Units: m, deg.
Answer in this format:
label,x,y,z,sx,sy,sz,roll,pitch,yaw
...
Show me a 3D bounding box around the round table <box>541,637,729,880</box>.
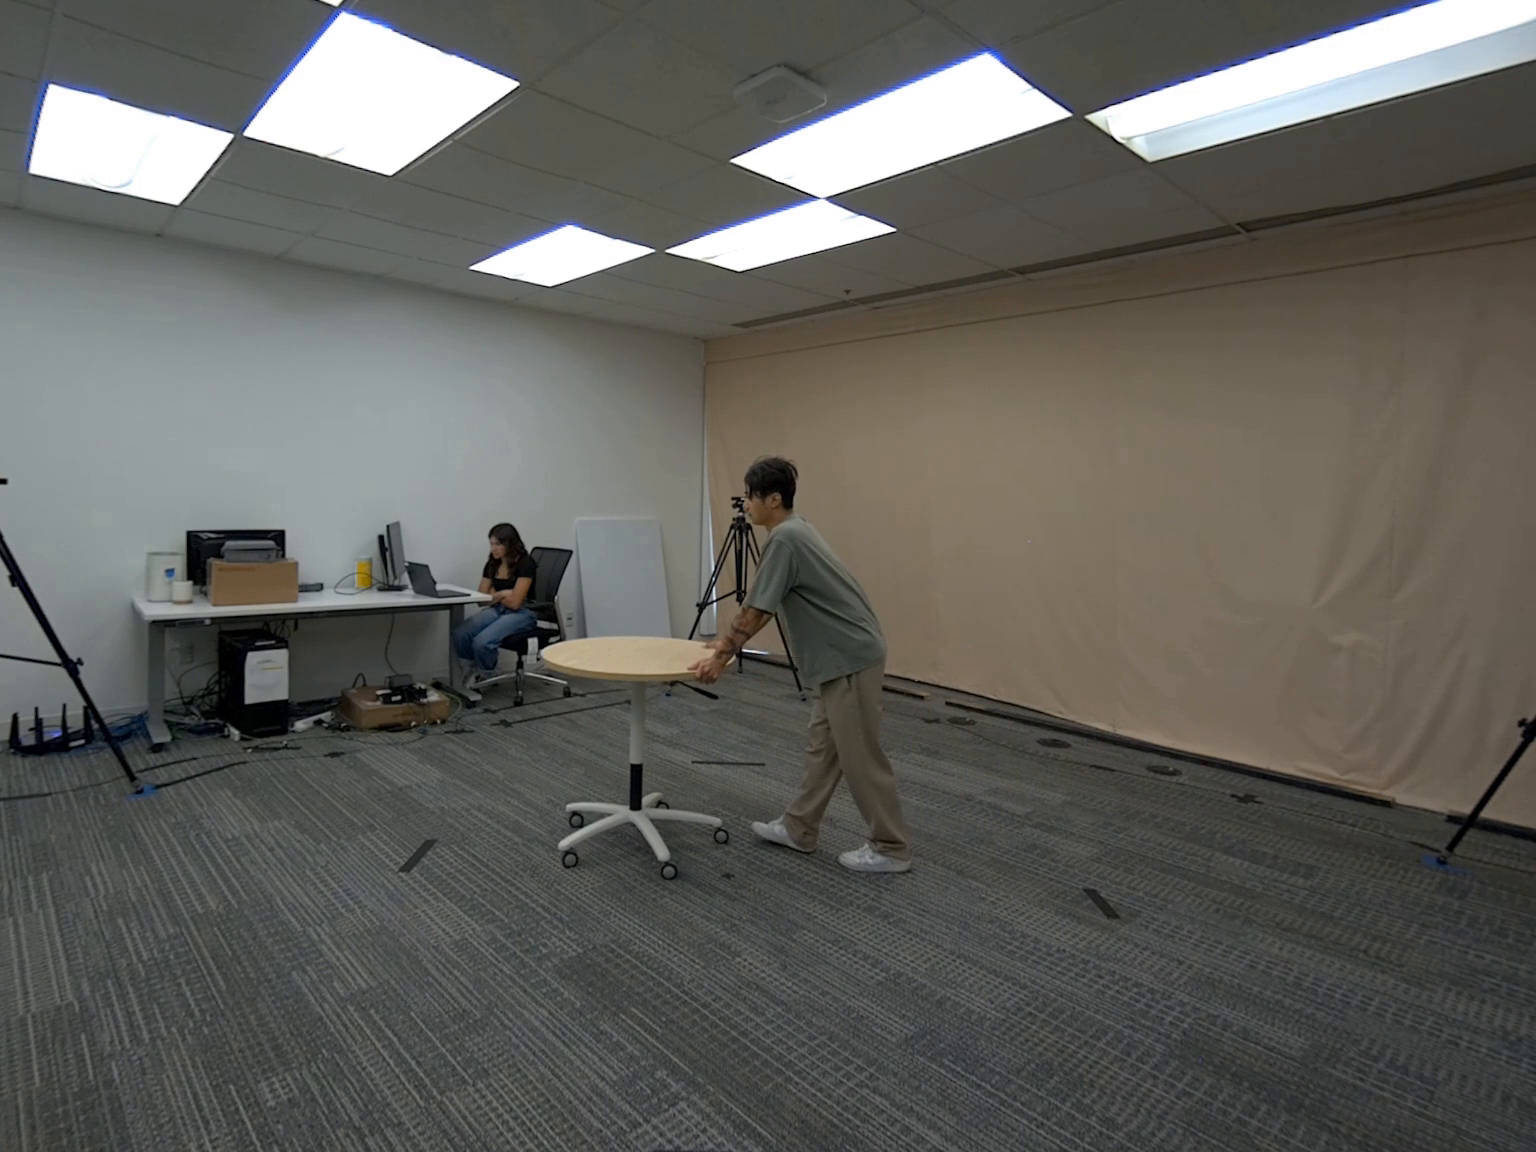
label,x,y,z,sx,sy,sz,roll,pitch,yaw
round table,-0.535,0.684,3.371,0.784,0.784,0.788,2,4,-1
